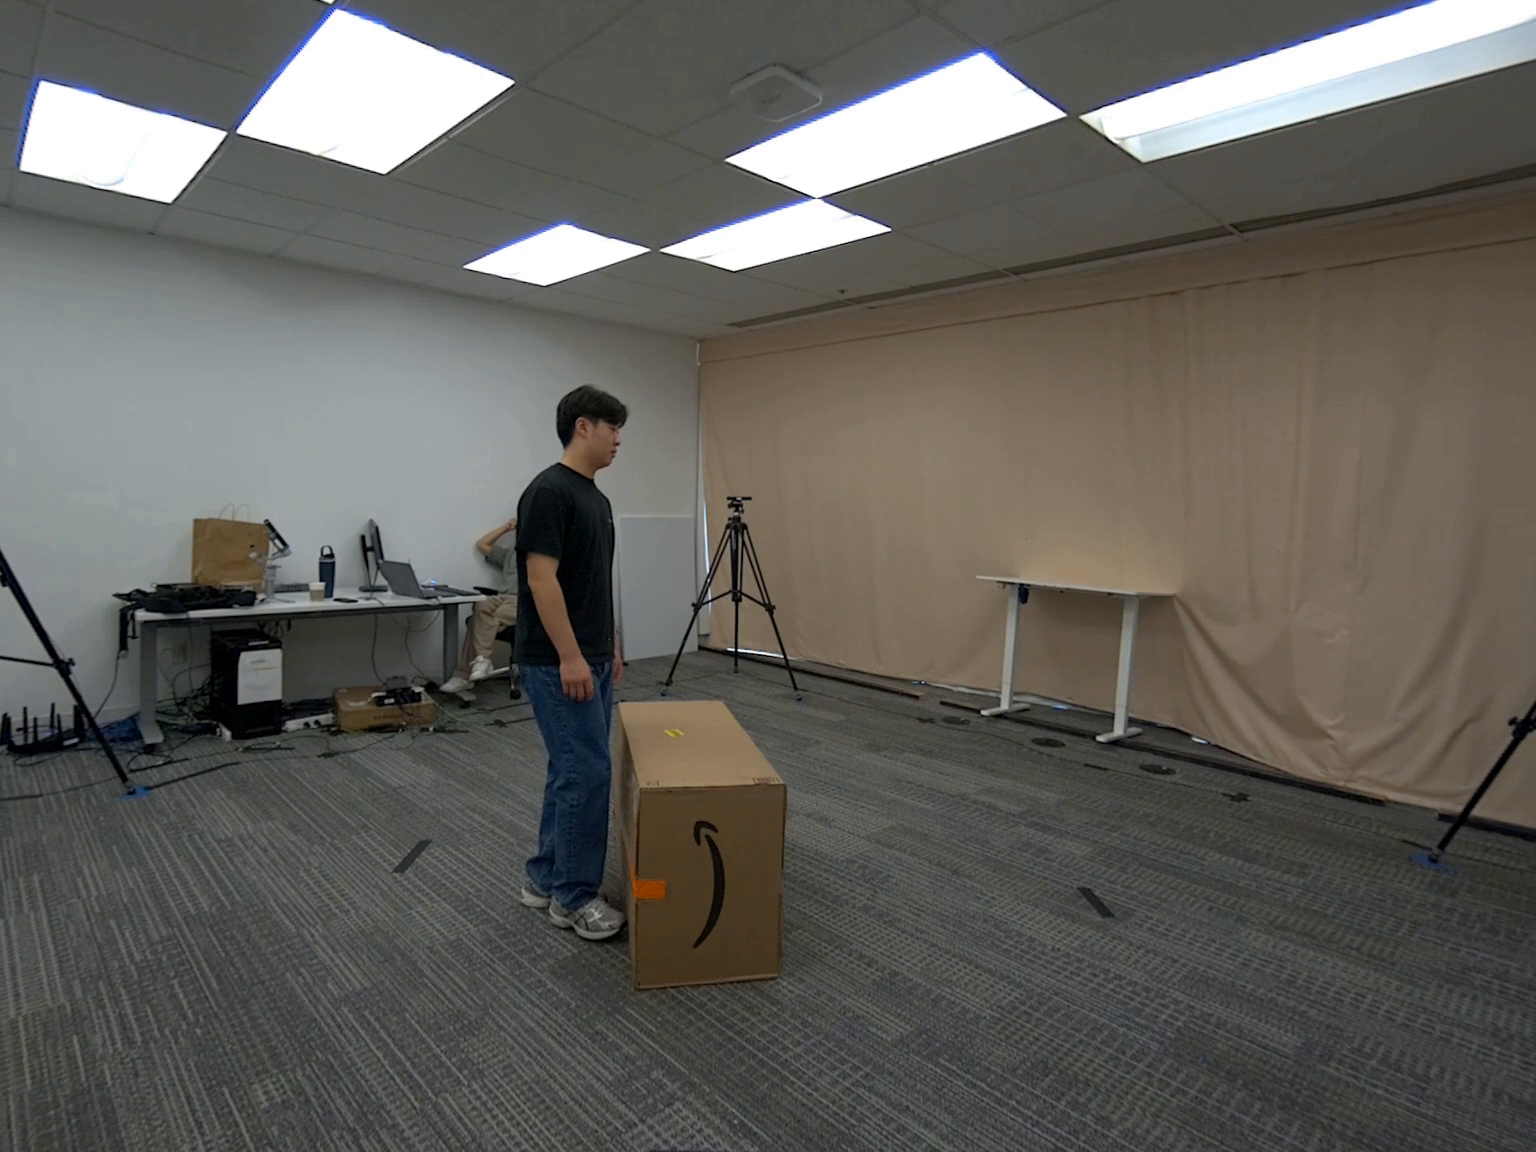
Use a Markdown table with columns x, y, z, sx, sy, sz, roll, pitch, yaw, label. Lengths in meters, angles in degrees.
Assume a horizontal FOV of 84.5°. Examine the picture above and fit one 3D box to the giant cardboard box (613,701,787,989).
| x | y | z | sx | sy | sz | roll | pitch | yaw | label |
| --- | --- | --- | --- | --- | --- | --- | --- | --- | --- |
| -0.282 | 0.835 | 2.893 | 0.442 | 0.582 | 1.040 | 0 | 4 | -14 | giant cardboard box |
